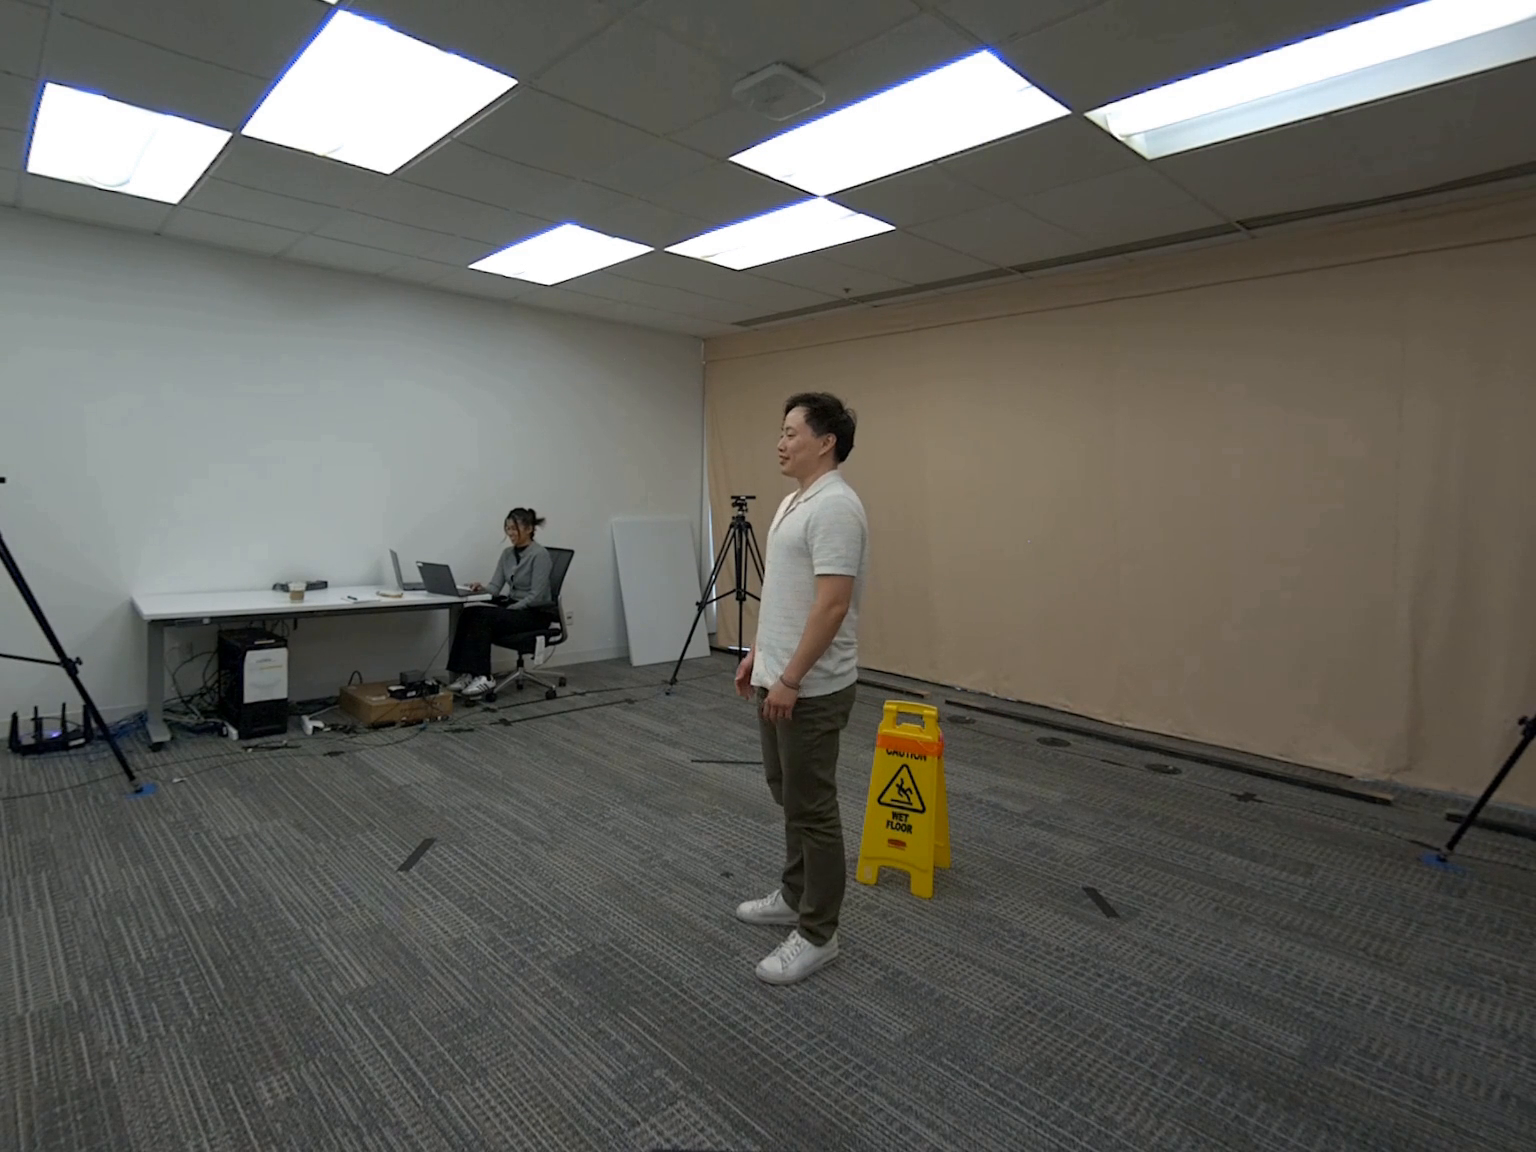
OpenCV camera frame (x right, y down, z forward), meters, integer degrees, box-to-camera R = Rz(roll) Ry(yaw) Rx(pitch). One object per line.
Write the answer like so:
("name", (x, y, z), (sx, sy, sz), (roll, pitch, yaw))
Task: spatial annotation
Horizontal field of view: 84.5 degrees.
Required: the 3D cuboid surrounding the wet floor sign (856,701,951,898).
("wet floor sign", (0.514, 0.793, 3.129), (0.288, 0.645, 0.284), (4, 3, 26))
